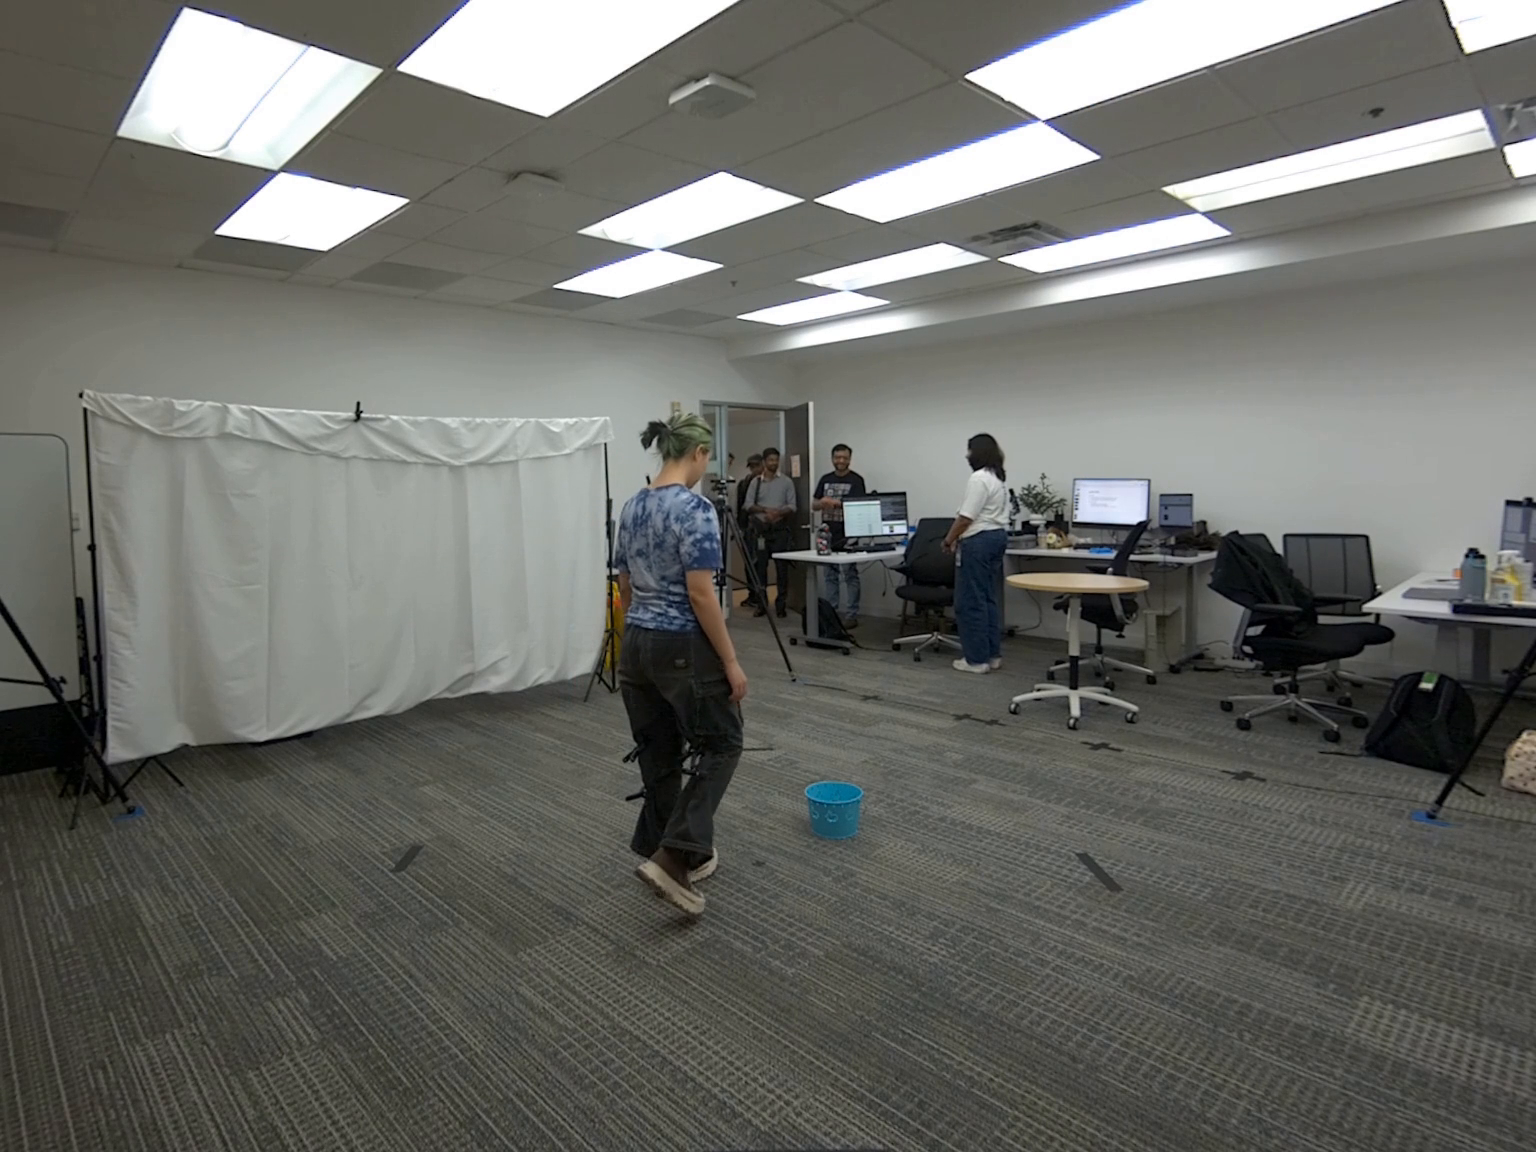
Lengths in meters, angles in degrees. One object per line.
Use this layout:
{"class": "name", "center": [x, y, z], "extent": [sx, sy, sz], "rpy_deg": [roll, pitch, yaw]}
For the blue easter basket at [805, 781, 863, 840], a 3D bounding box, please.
{"class": "blue easter basket", "center": [0.272, 0.931, 3.400], "extent": [0.243, 0.155, 0.245], "rpy_deg": [-1, 5, -2]}
